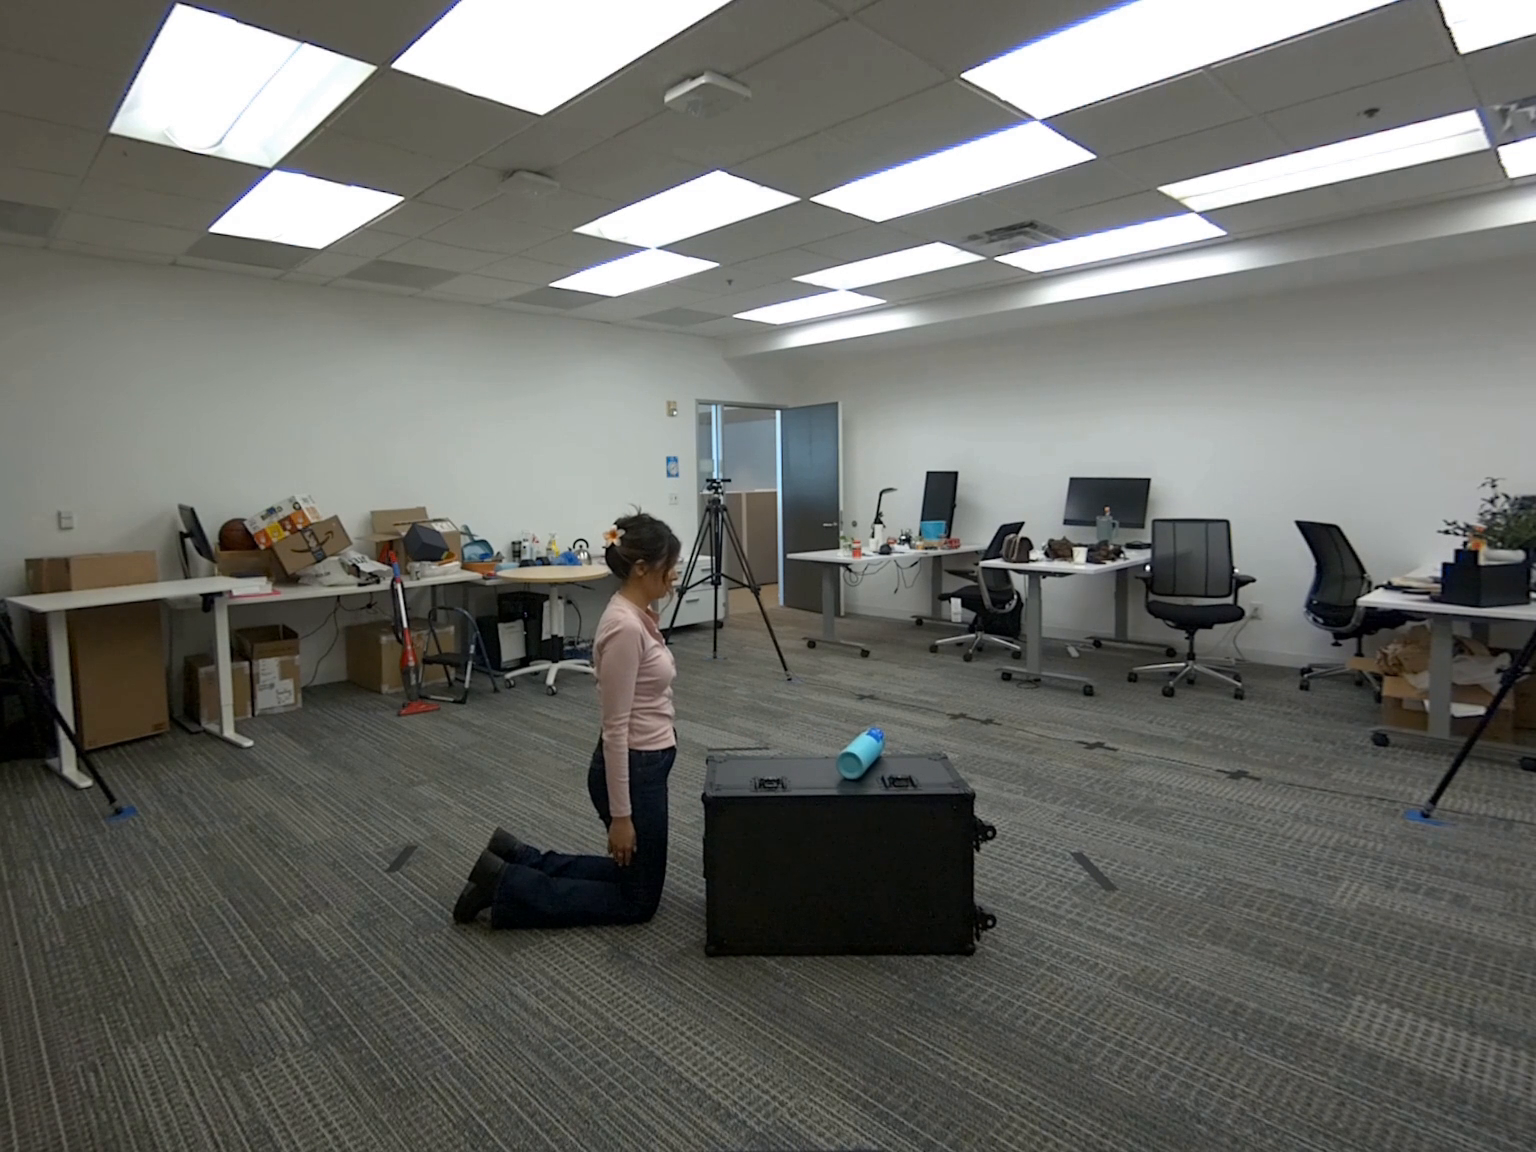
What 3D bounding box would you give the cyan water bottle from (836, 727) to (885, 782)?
[{"bbox_3d":[0.303,0.551,2.700,0.094,0.092,0.278,1,7,24],"label":"cyan water bottle"}]
